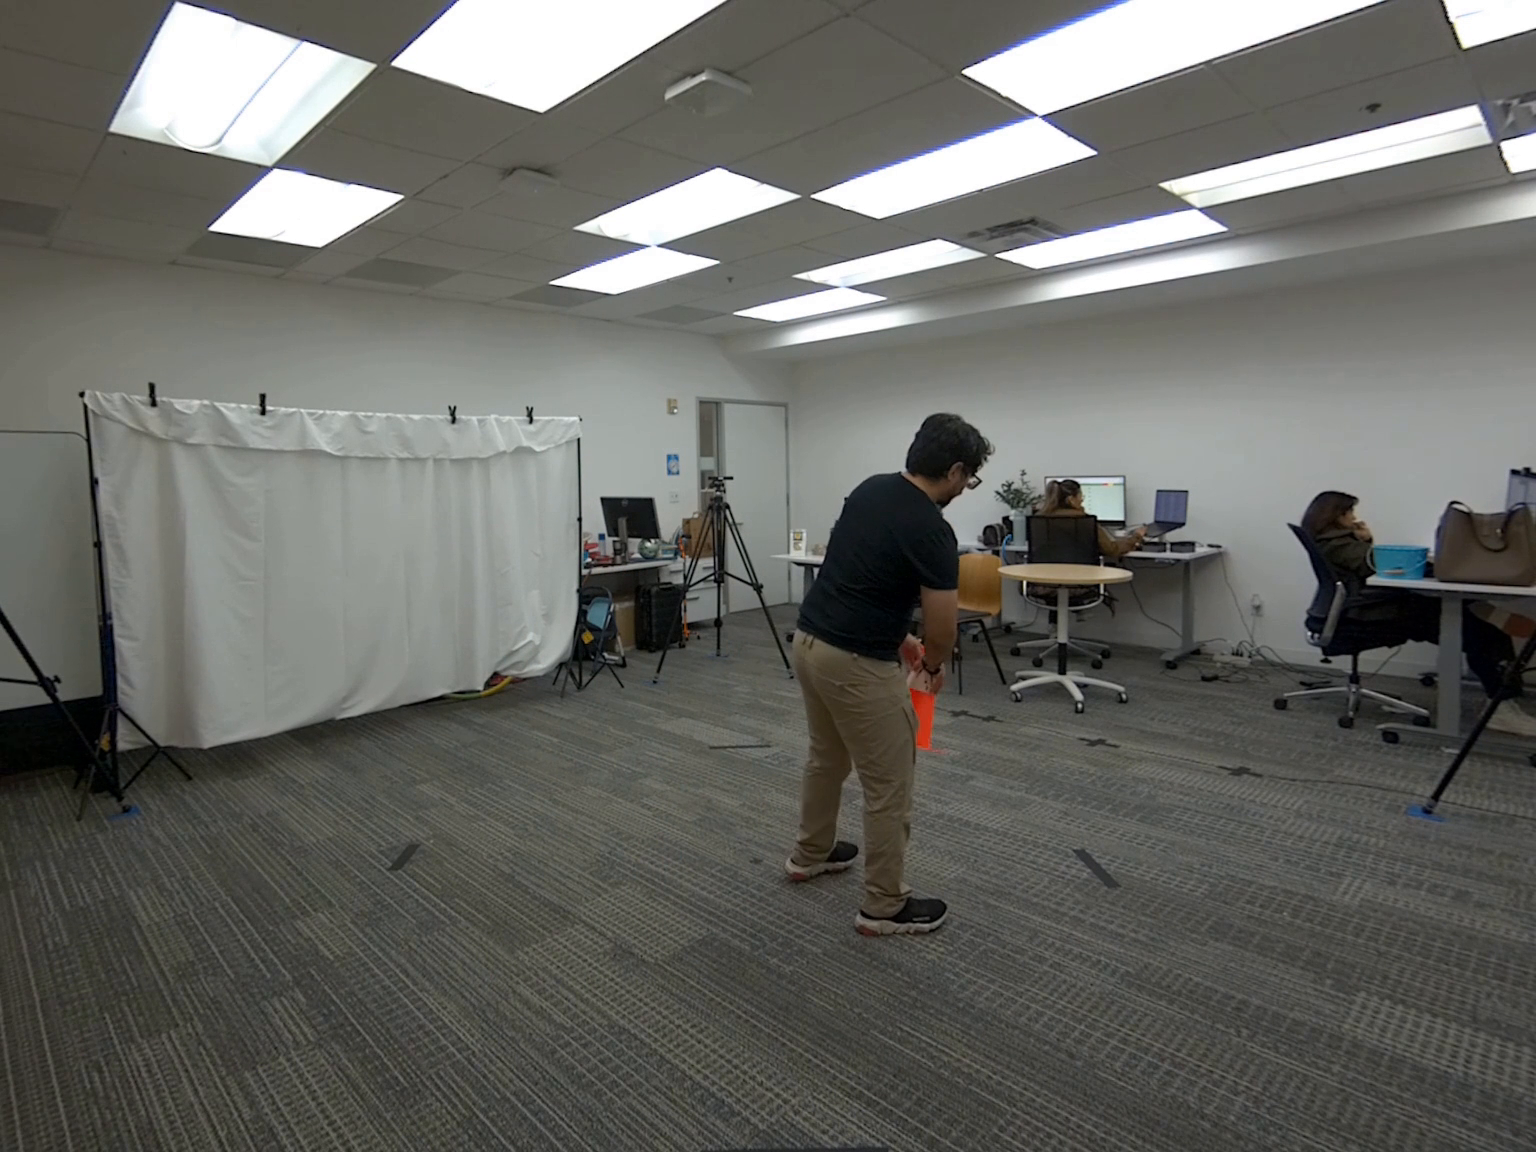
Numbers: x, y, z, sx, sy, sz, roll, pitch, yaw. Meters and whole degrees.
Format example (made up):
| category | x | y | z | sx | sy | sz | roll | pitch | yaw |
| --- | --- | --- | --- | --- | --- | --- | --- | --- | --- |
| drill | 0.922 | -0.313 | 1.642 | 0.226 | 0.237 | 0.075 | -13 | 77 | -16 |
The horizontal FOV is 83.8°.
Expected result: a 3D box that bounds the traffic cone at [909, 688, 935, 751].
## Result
| category | x | y | z | sx | sy | sz | roll | pitch | yaw |
| --- | --- | --- | --- | --- | --- | --- | --- | --- | --- |
| traffic cone | 0.506 | 0.355 | 2.782 | 0.201 | 0.384 | 0.207 | 18 | -1 | -19 |
